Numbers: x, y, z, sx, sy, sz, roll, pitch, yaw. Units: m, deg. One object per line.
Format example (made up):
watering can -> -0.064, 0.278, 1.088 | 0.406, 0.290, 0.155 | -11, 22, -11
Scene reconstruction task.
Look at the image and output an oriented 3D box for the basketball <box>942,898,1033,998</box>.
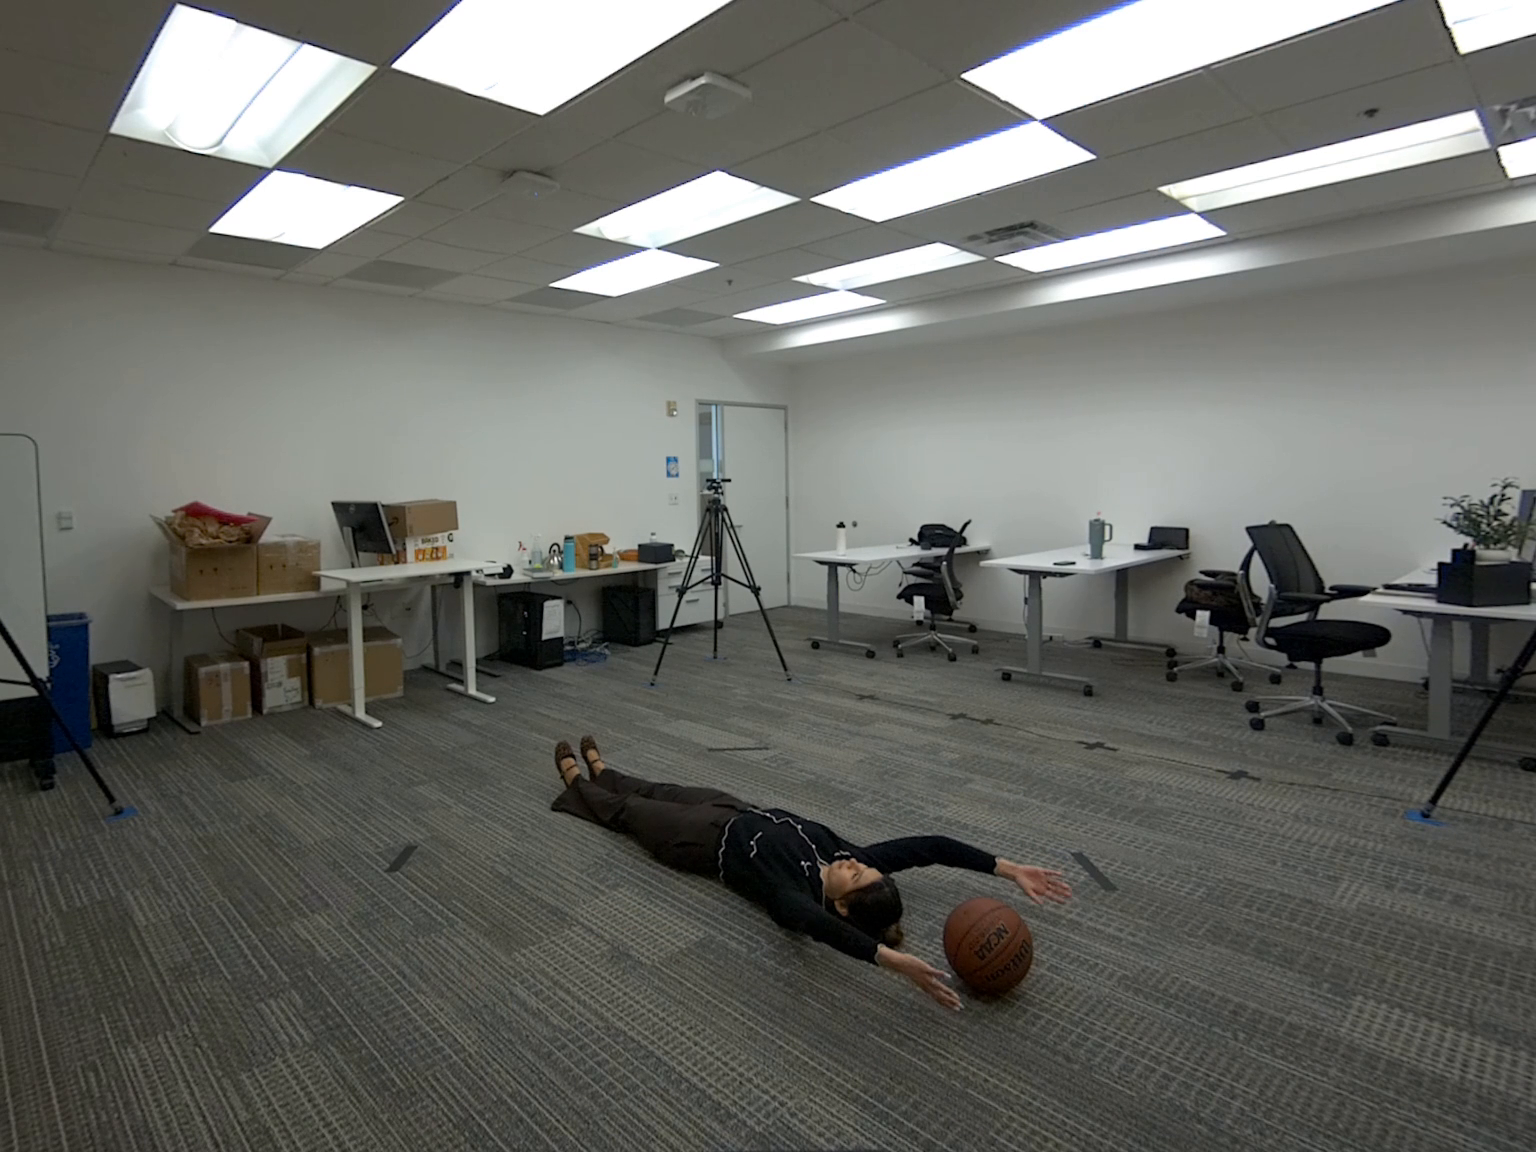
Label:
basketball -> 0.603, 1.003, 2.329 | 0.236, 0.235, 0.237 | -1, 5, -2
